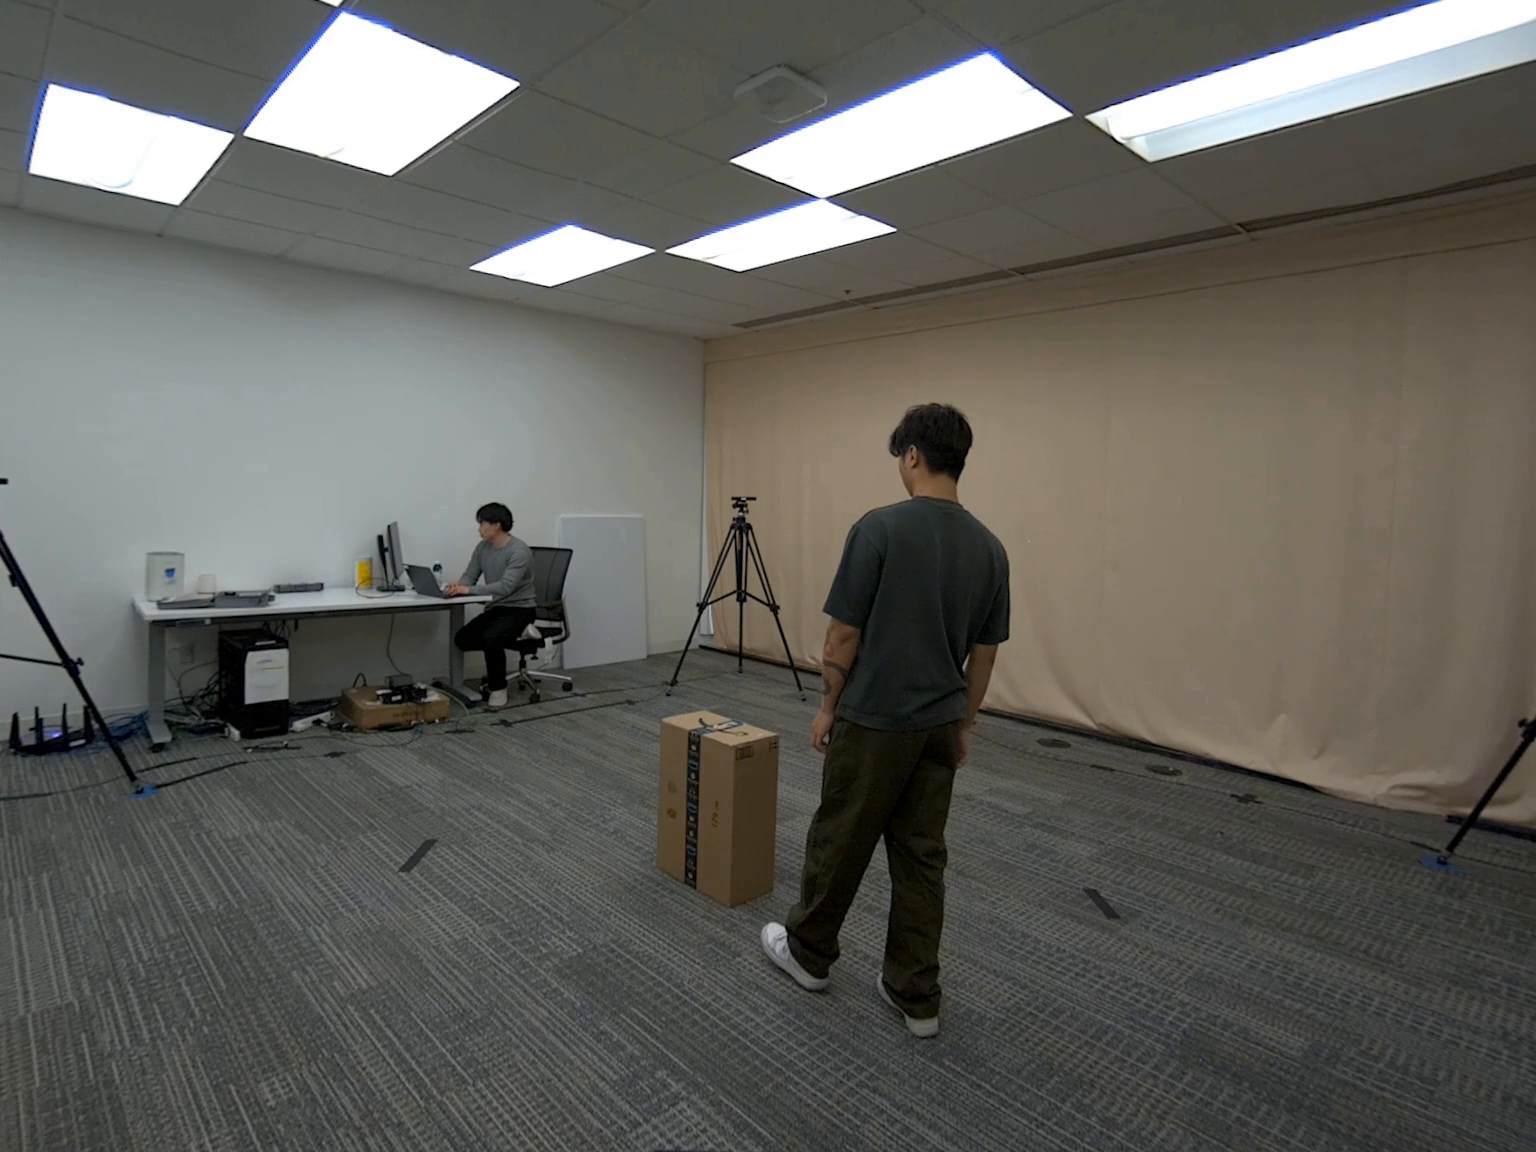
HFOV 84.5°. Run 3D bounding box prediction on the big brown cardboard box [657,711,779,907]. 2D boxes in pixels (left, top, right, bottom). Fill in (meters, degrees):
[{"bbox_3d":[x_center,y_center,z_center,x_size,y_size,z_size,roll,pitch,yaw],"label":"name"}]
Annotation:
[{"bbox_3d":[-0.194,0.823,3.060,0.228,0.587,0.428,-1,5,-43],"label":"big brown cardboard box"}]
